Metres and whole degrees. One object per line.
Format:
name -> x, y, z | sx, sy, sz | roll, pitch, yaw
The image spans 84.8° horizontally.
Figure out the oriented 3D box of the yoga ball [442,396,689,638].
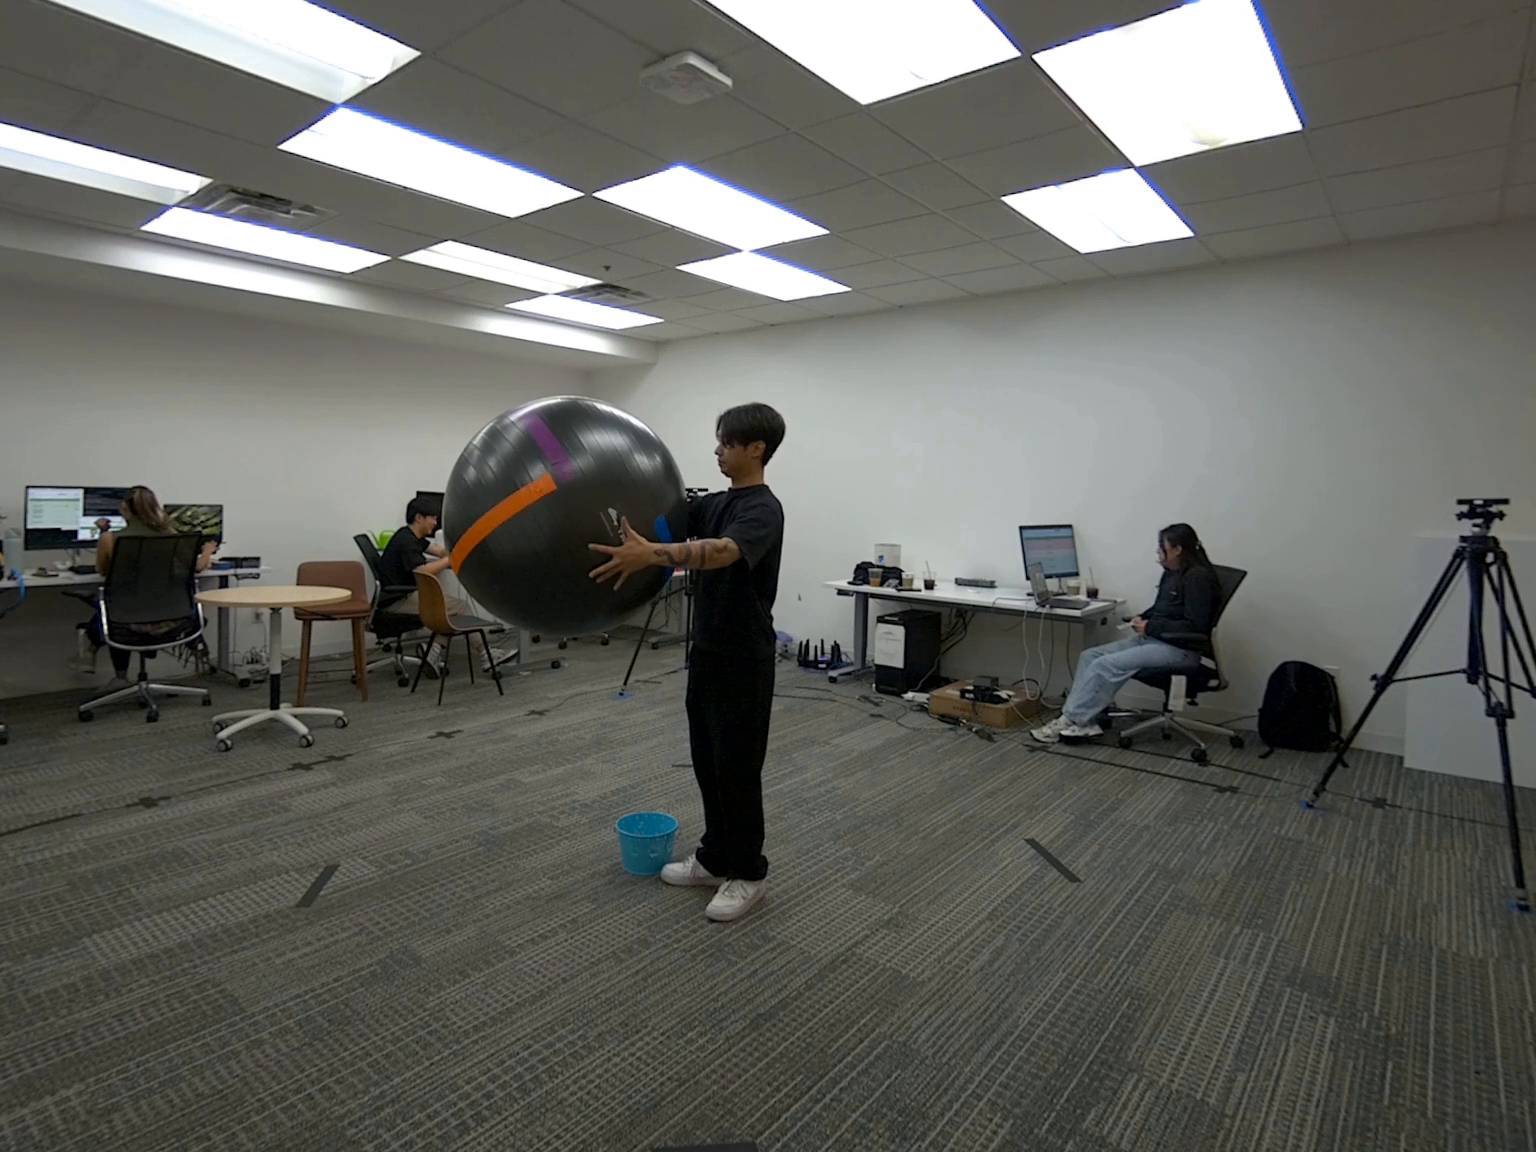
yoga ball -> -0.643, -0.177, 2.689 | 0.757, 0.756, 0.761 | 1, 4, -2
